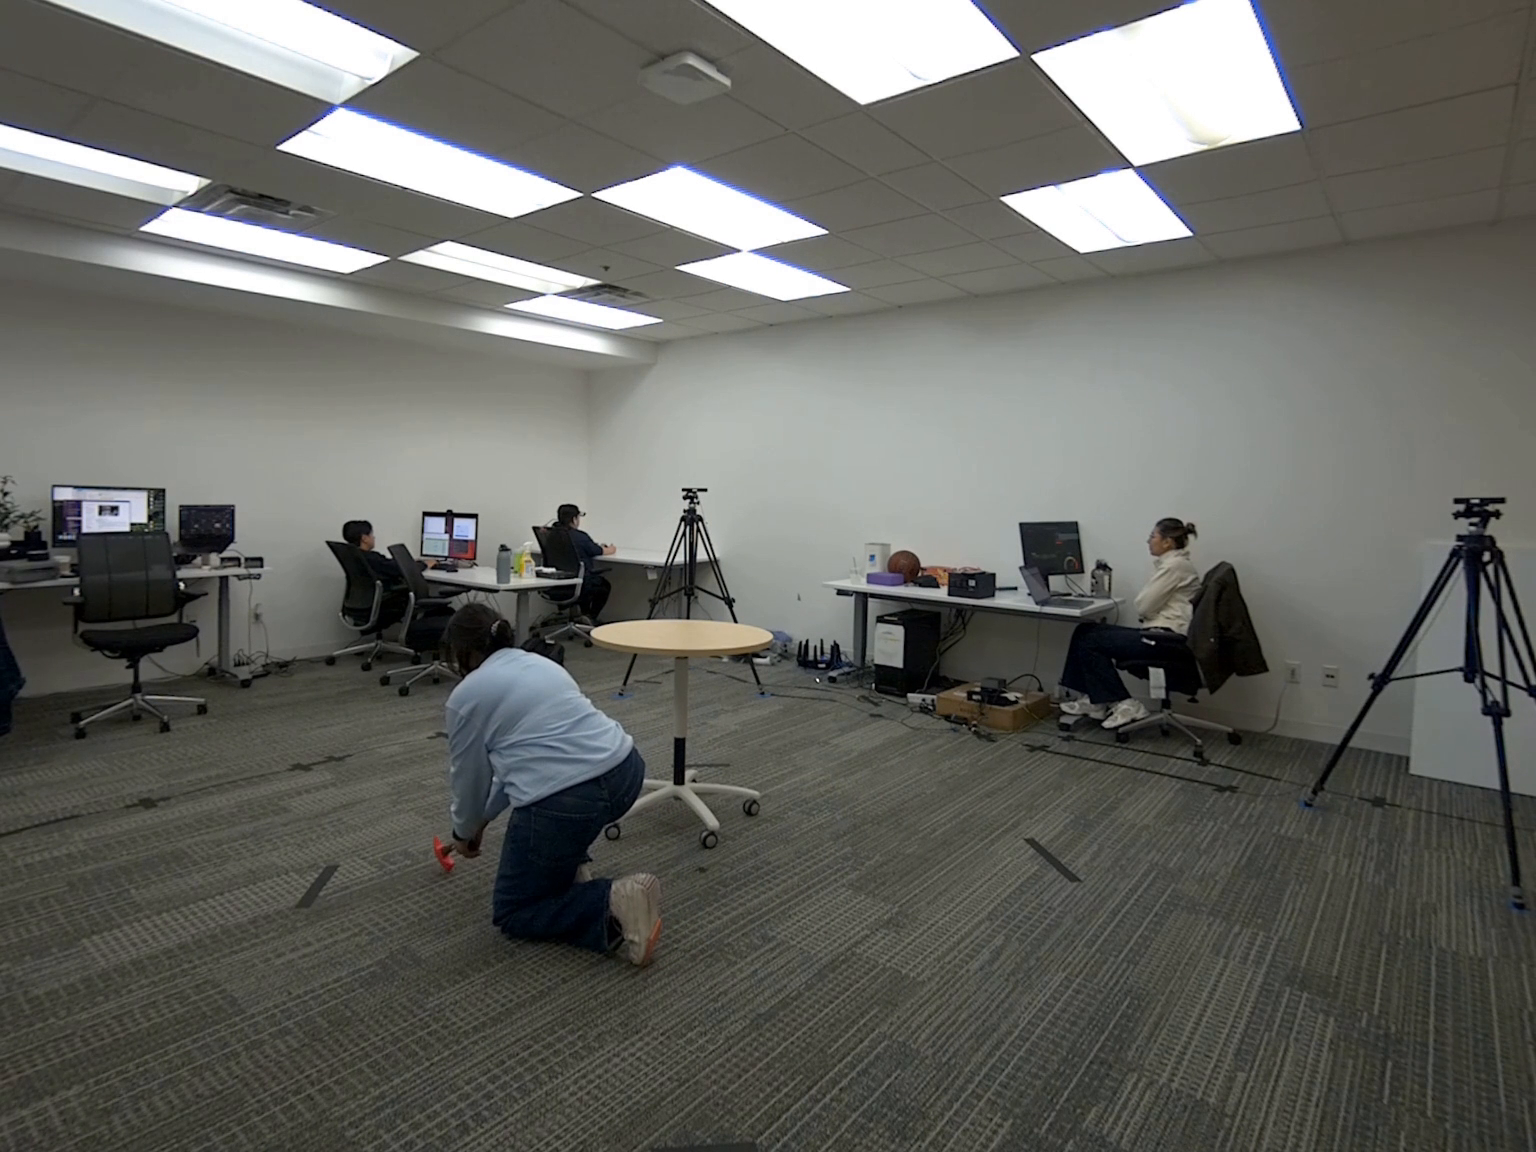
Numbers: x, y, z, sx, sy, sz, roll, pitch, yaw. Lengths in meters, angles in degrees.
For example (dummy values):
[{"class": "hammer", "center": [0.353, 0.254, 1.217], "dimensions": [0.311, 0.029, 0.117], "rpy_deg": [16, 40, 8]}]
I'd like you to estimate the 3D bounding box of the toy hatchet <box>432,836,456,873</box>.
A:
[{"class": "toy hatchet", "center": [-1.131, 0.987, 3.007], "dimensions": [0.278, 0.131, 0.029], "rpy_deg": [-6, 4, 44]}]
